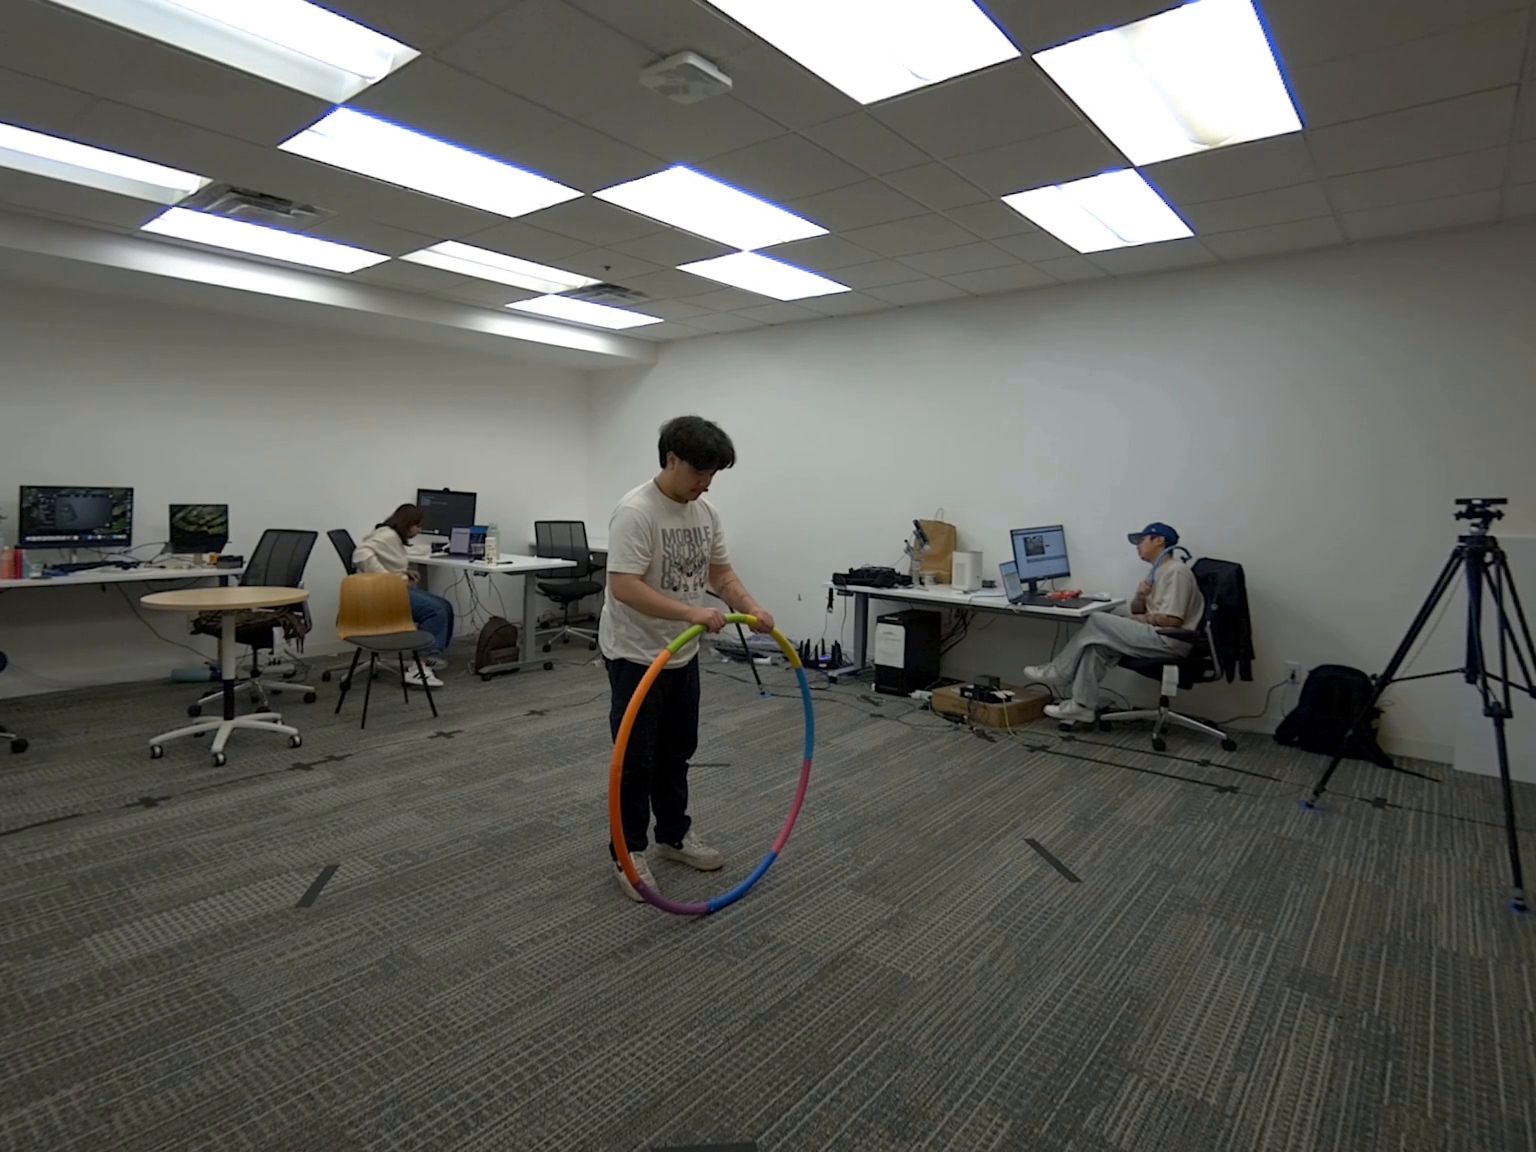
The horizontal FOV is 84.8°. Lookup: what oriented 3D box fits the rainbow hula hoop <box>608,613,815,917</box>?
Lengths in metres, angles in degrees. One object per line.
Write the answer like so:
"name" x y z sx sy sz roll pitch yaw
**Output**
"rainbow hula hoop" -0.155 0.615 2.823 0.053 0.983 0.956 1 3 41
